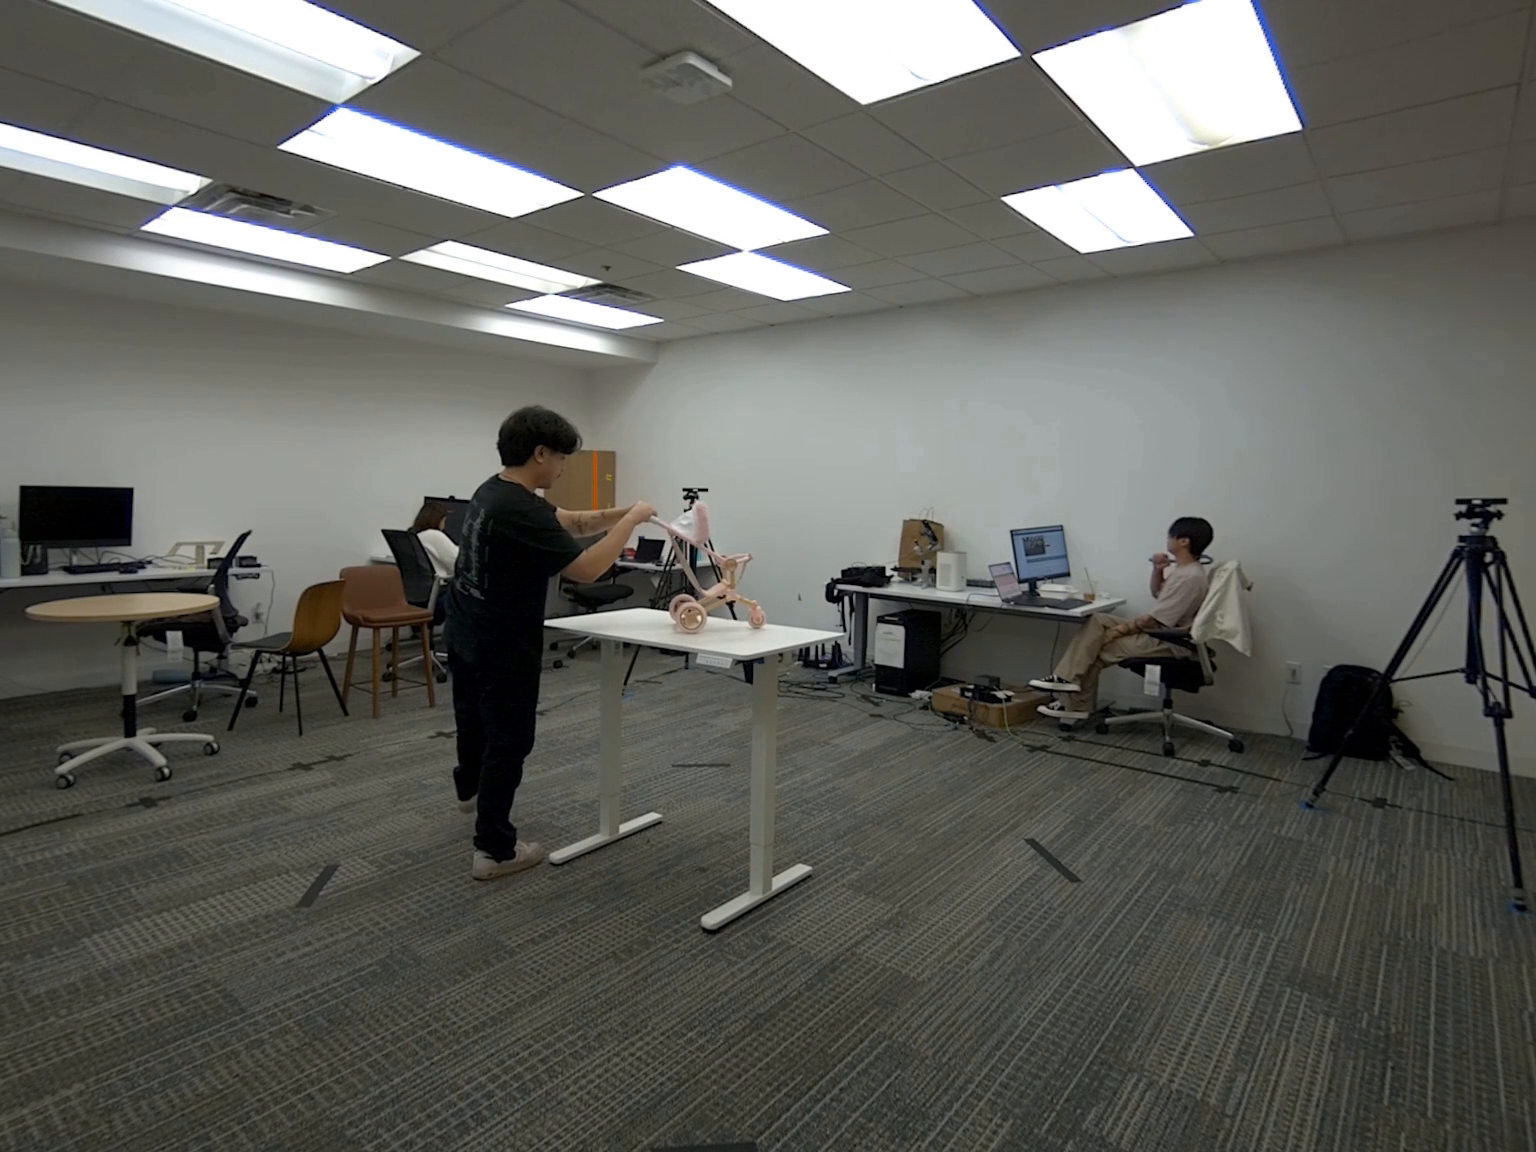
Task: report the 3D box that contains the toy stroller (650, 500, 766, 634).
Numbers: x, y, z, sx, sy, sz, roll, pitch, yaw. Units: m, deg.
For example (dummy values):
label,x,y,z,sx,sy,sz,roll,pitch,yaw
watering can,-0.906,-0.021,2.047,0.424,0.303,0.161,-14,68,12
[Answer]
label,x,y,z,sx,sy,sz,roll,pitch,yaw
toy stroller,-0.231,-0.031,3.069,0.340,0.532,0.284,-15,5,-4
